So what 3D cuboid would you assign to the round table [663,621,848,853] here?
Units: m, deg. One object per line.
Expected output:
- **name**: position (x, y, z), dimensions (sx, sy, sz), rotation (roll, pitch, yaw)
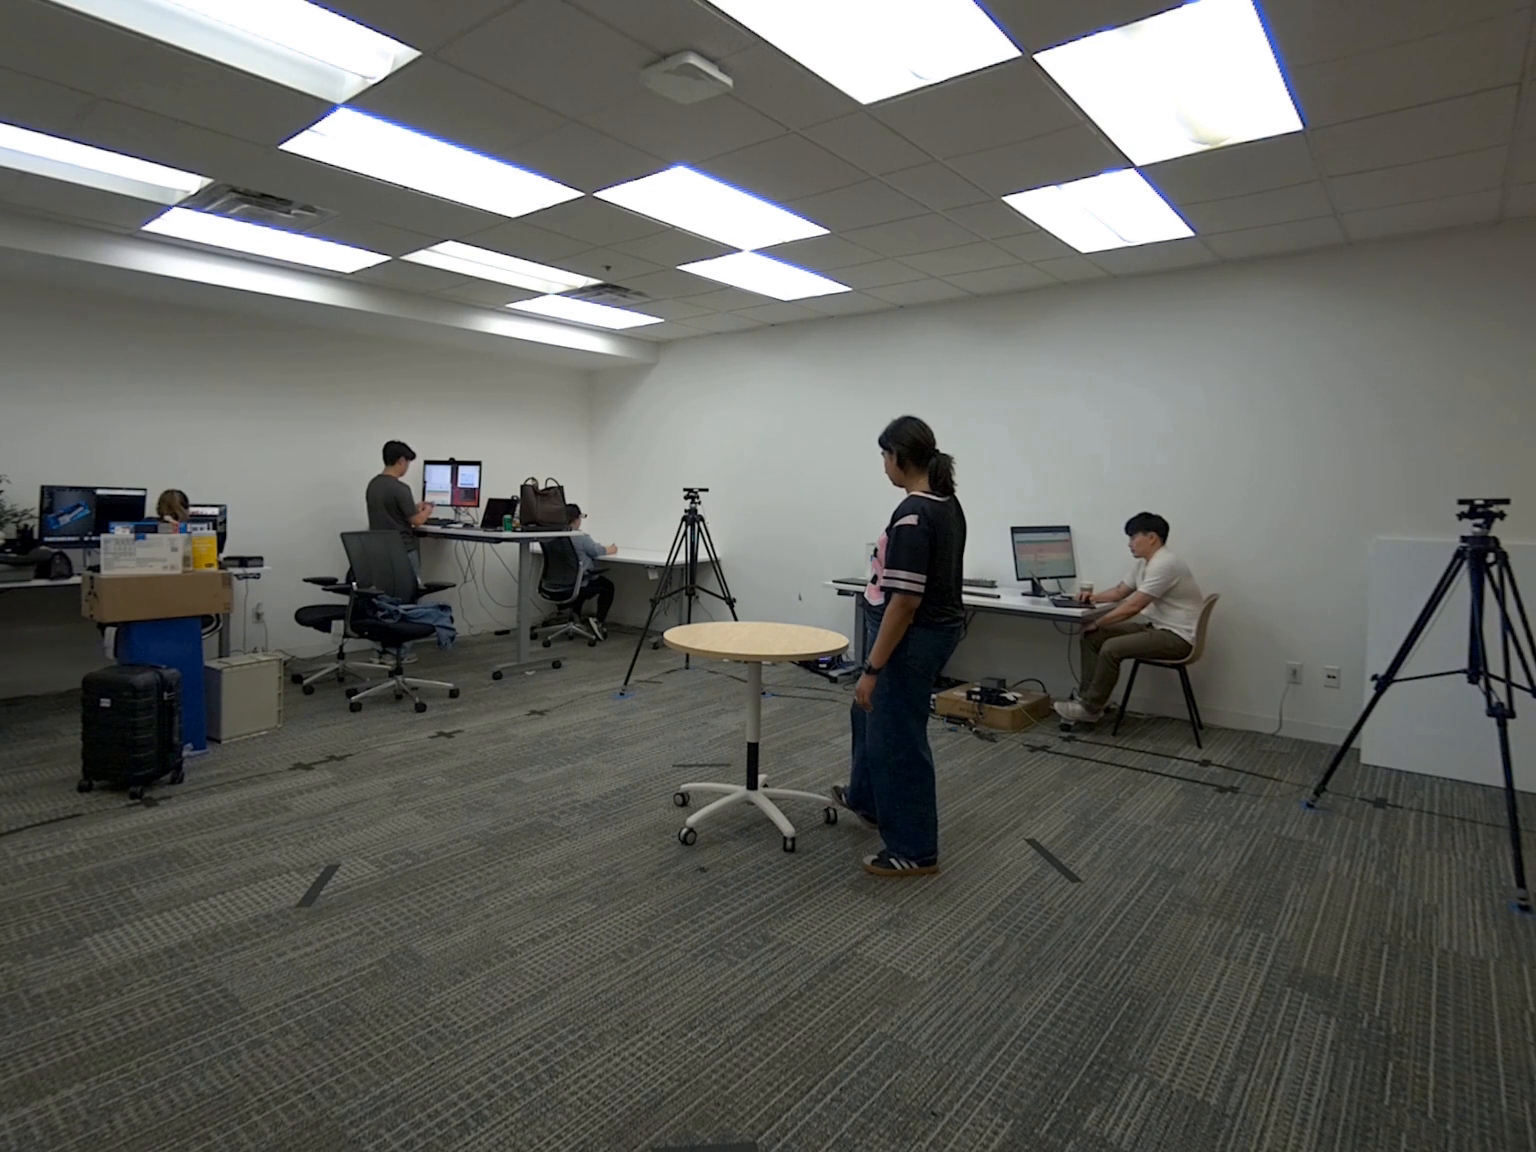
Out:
- **round table**: position (-0.079, 0.642, 3.557), dimensions (0.763, 0.791, 0.768), rotation (1, 4, -2)
